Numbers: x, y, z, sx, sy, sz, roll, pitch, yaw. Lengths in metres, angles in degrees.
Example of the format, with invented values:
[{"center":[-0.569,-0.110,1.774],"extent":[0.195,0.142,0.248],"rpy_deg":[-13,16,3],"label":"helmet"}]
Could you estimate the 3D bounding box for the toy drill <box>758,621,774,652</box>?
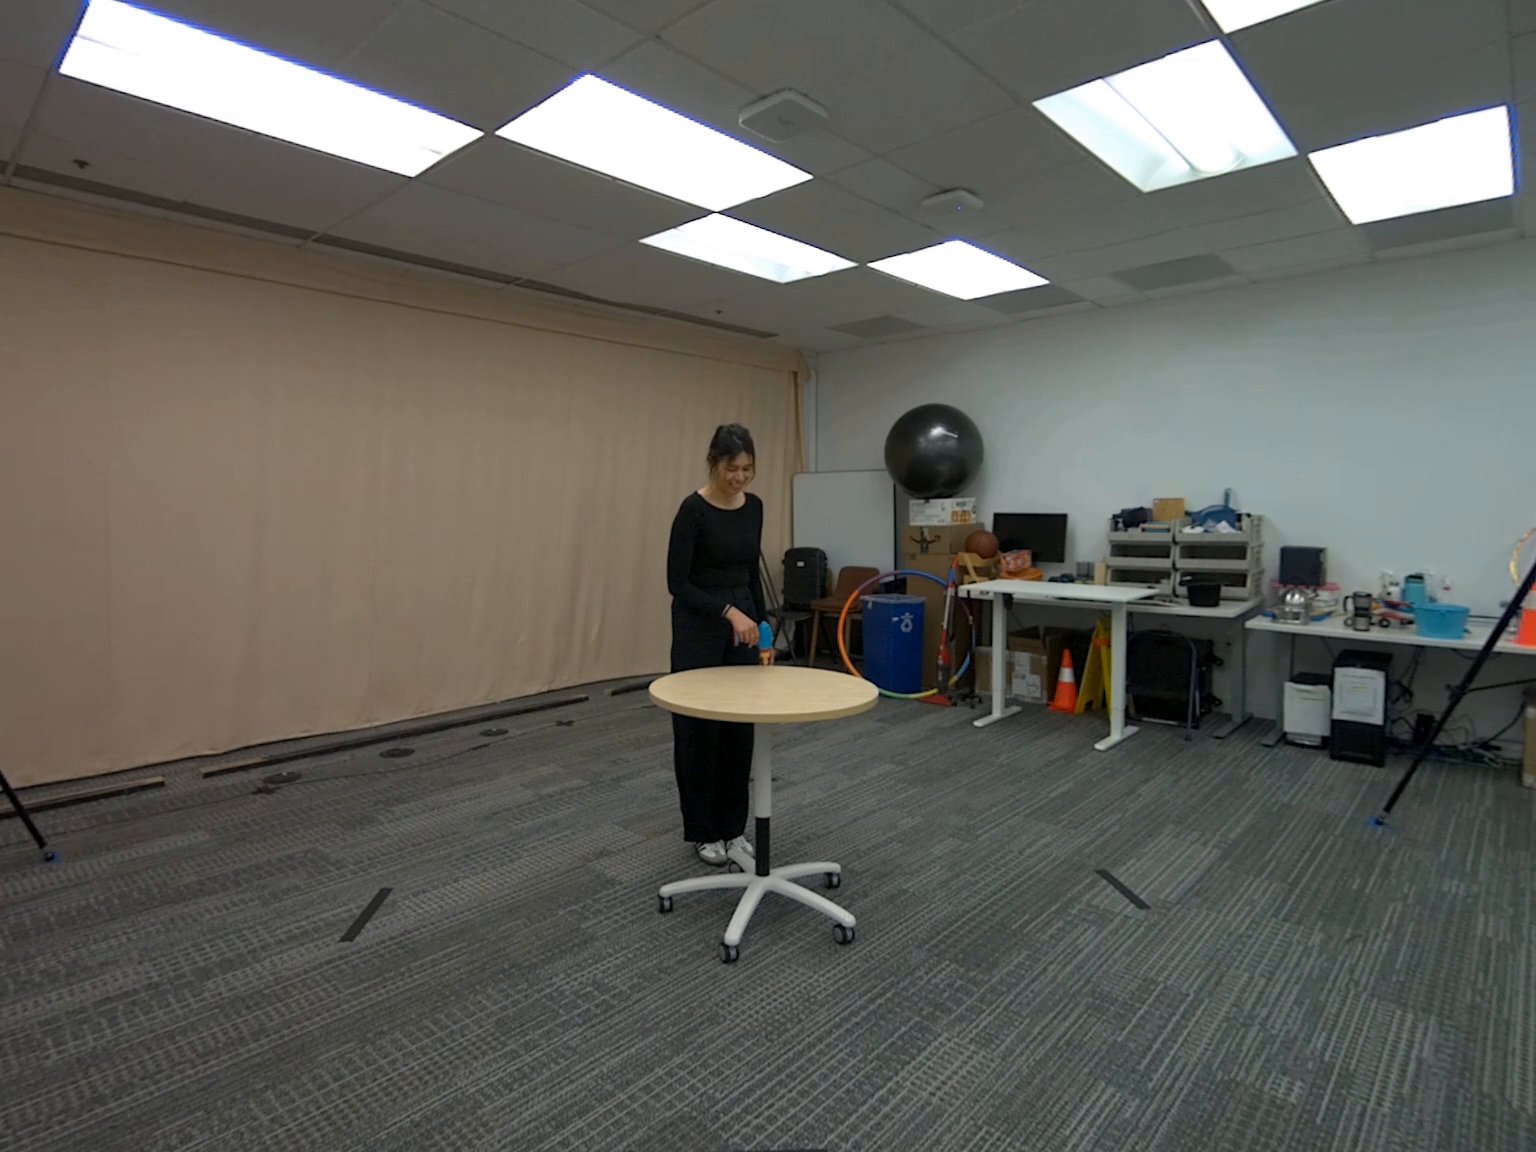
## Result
[{"center":[-0.060,0.254,3.137],"extent":[0.146,0.168,0.061],"rpy_deg":[3,13,1],"label":"toy drill"}]
